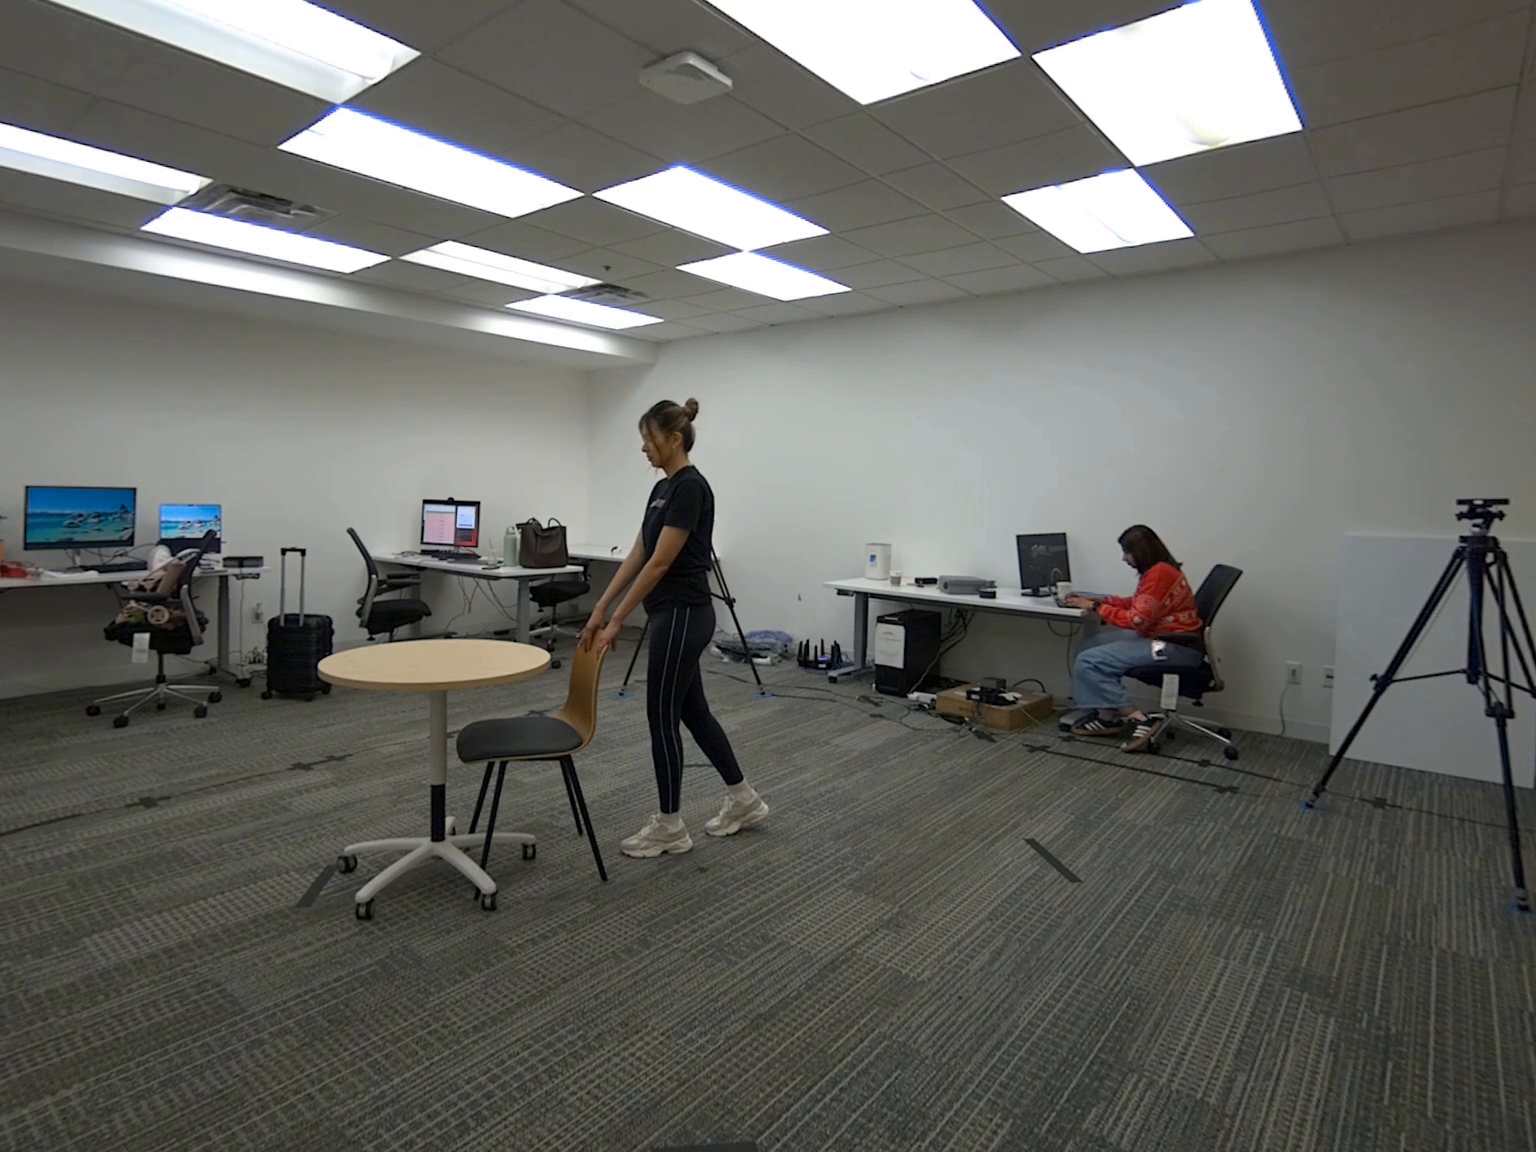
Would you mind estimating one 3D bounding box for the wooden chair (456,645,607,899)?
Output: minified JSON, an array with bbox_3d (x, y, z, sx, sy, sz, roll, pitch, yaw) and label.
[{"bbox_3d":[-0.871,0.634,3.097,0.511,0.876,0.490,3,2,-23],"label":"wooden chair"}]
